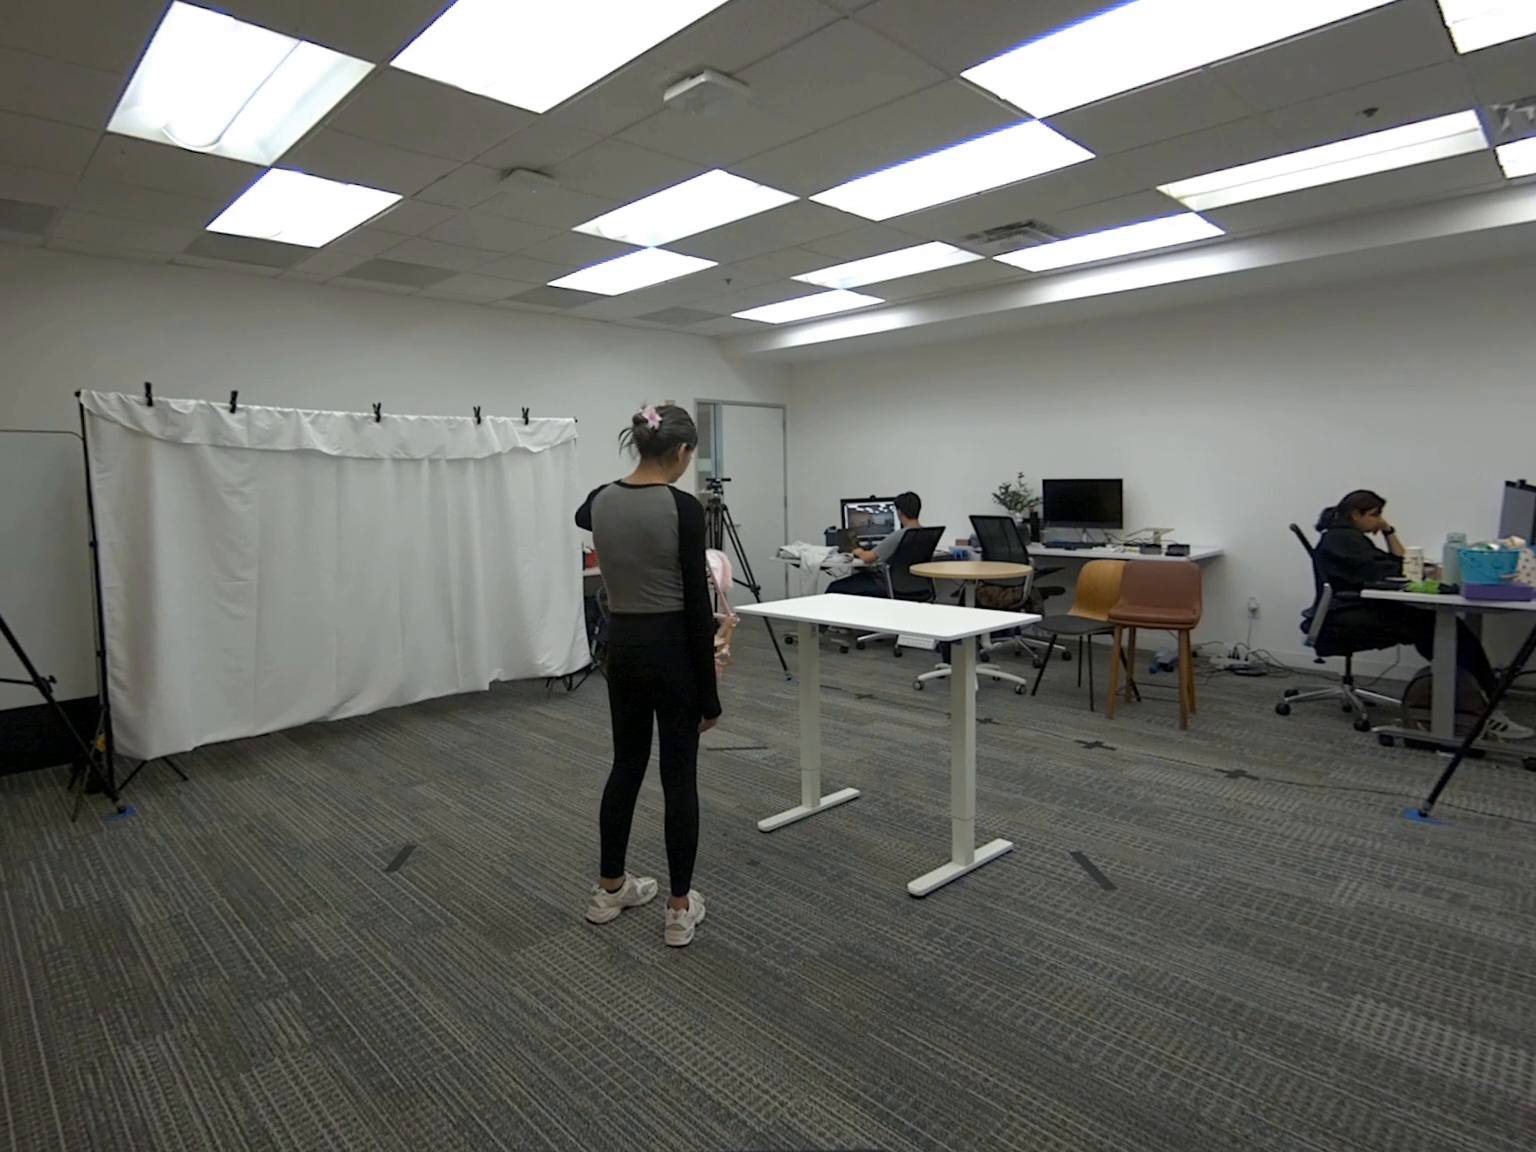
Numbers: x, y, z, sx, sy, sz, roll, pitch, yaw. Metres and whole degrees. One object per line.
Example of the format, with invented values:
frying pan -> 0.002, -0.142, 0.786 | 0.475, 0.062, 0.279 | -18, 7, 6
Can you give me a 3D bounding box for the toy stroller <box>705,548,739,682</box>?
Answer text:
toy stroller -> -0.239, 0.139, 3.046 | 0.290, 0.535, 0.331 | 6, 0, 39
